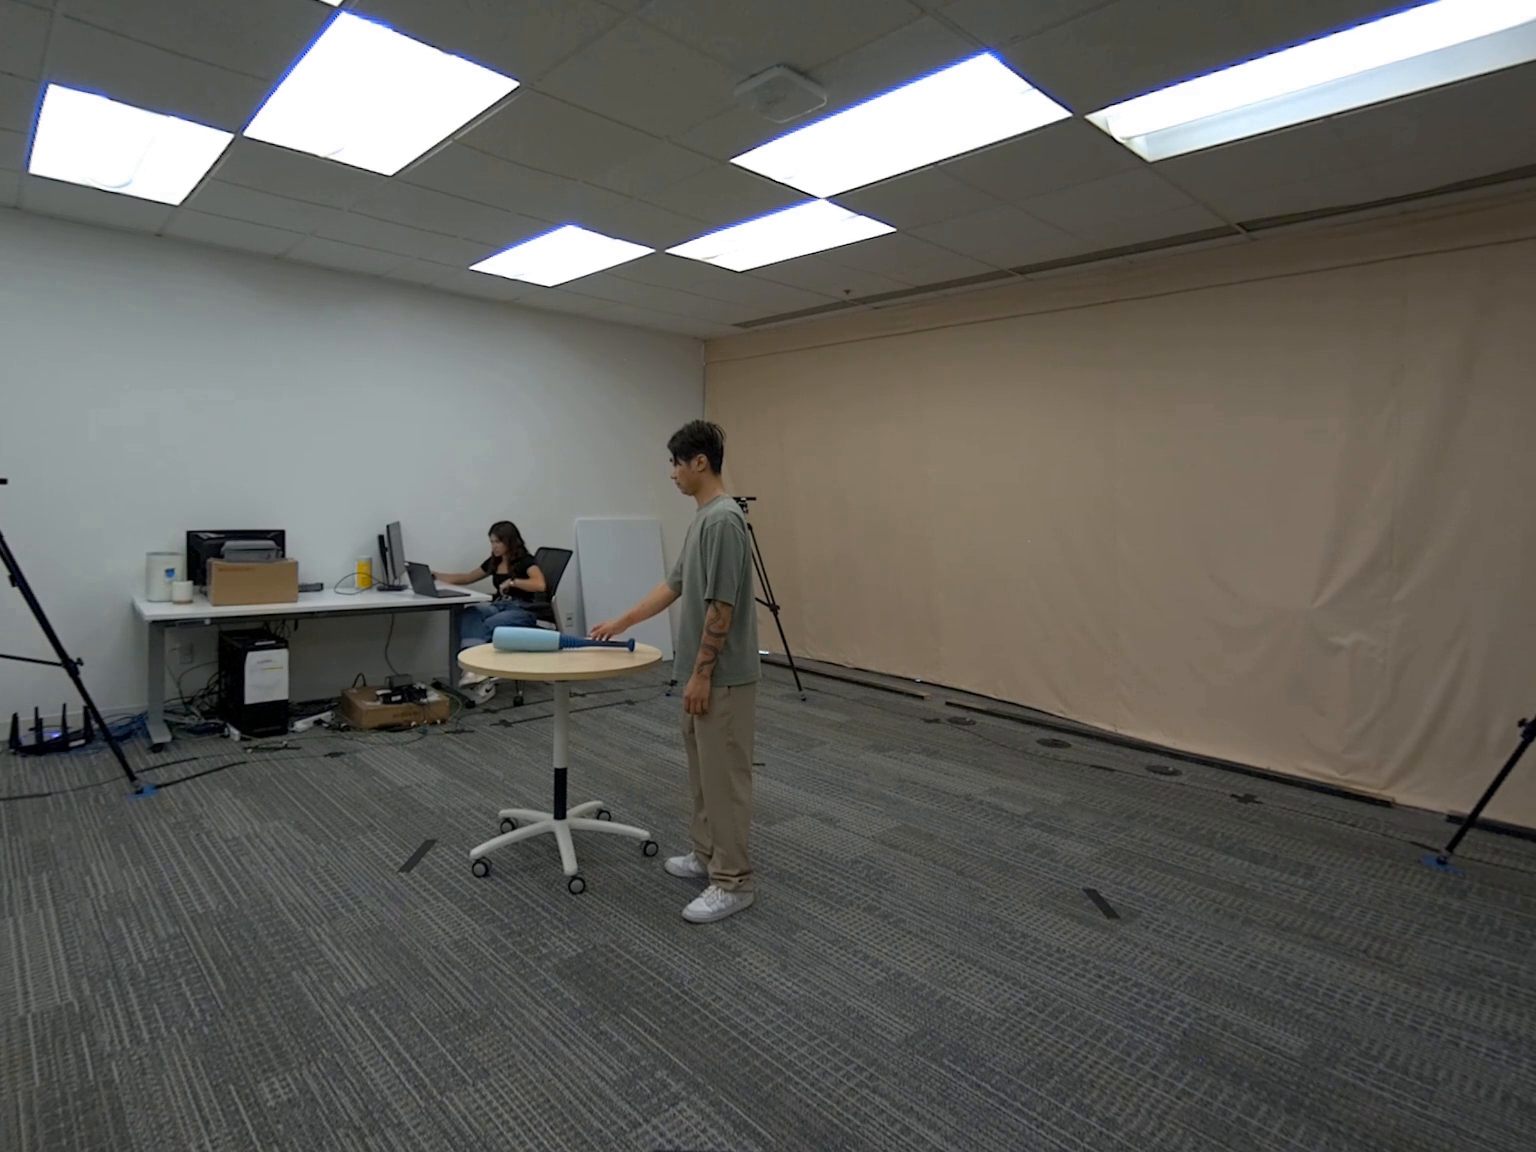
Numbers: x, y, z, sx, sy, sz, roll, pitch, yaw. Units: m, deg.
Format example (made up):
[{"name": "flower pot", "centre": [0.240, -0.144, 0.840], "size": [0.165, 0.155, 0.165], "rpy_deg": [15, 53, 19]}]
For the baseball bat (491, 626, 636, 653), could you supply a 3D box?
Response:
[{"name": "baseball bat", "centre": [-0.801, 0.257, 3.265], "size": [0.538, 0.089, 0.090], "rpy_deg": [4, 4, -10]}]
